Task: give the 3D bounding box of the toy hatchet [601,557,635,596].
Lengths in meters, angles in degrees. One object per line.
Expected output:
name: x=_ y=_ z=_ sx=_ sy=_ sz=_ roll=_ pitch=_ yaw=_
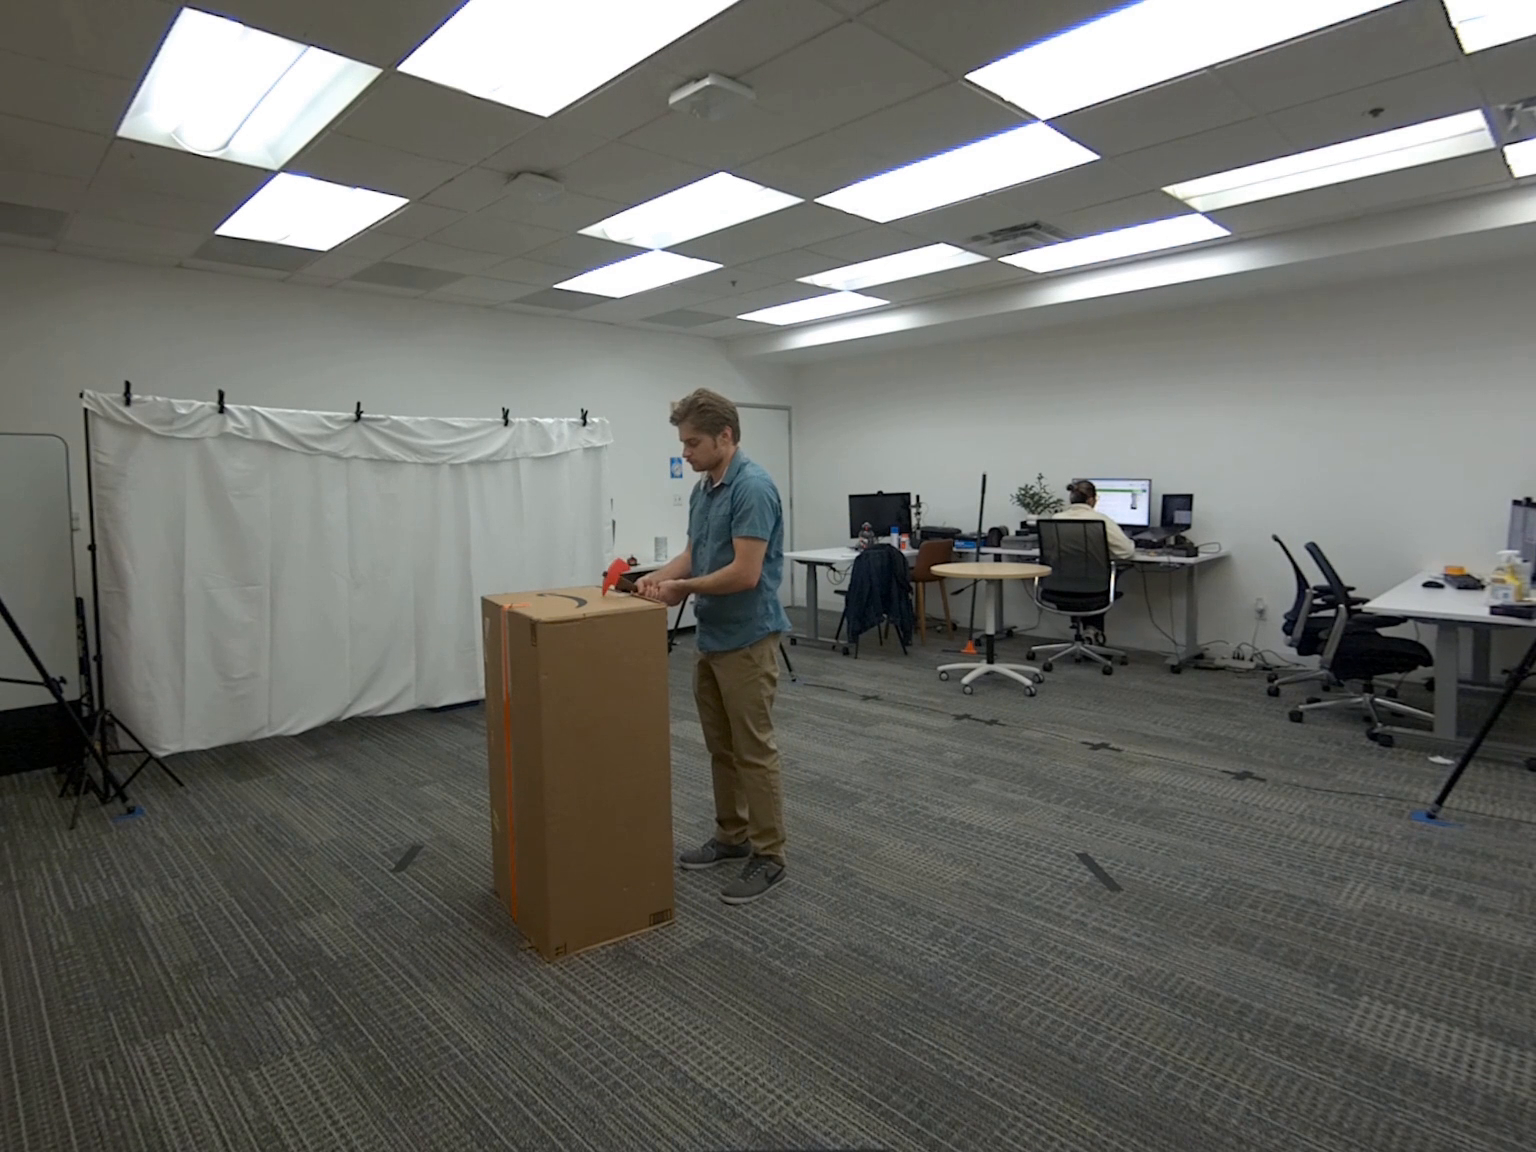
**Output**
toy hatchet: x=-0.423 y=0.003 z=2.869 sx=0.265 sy=0.132 sz=0.030 roll=6 pitch=-11 yaw=-18
